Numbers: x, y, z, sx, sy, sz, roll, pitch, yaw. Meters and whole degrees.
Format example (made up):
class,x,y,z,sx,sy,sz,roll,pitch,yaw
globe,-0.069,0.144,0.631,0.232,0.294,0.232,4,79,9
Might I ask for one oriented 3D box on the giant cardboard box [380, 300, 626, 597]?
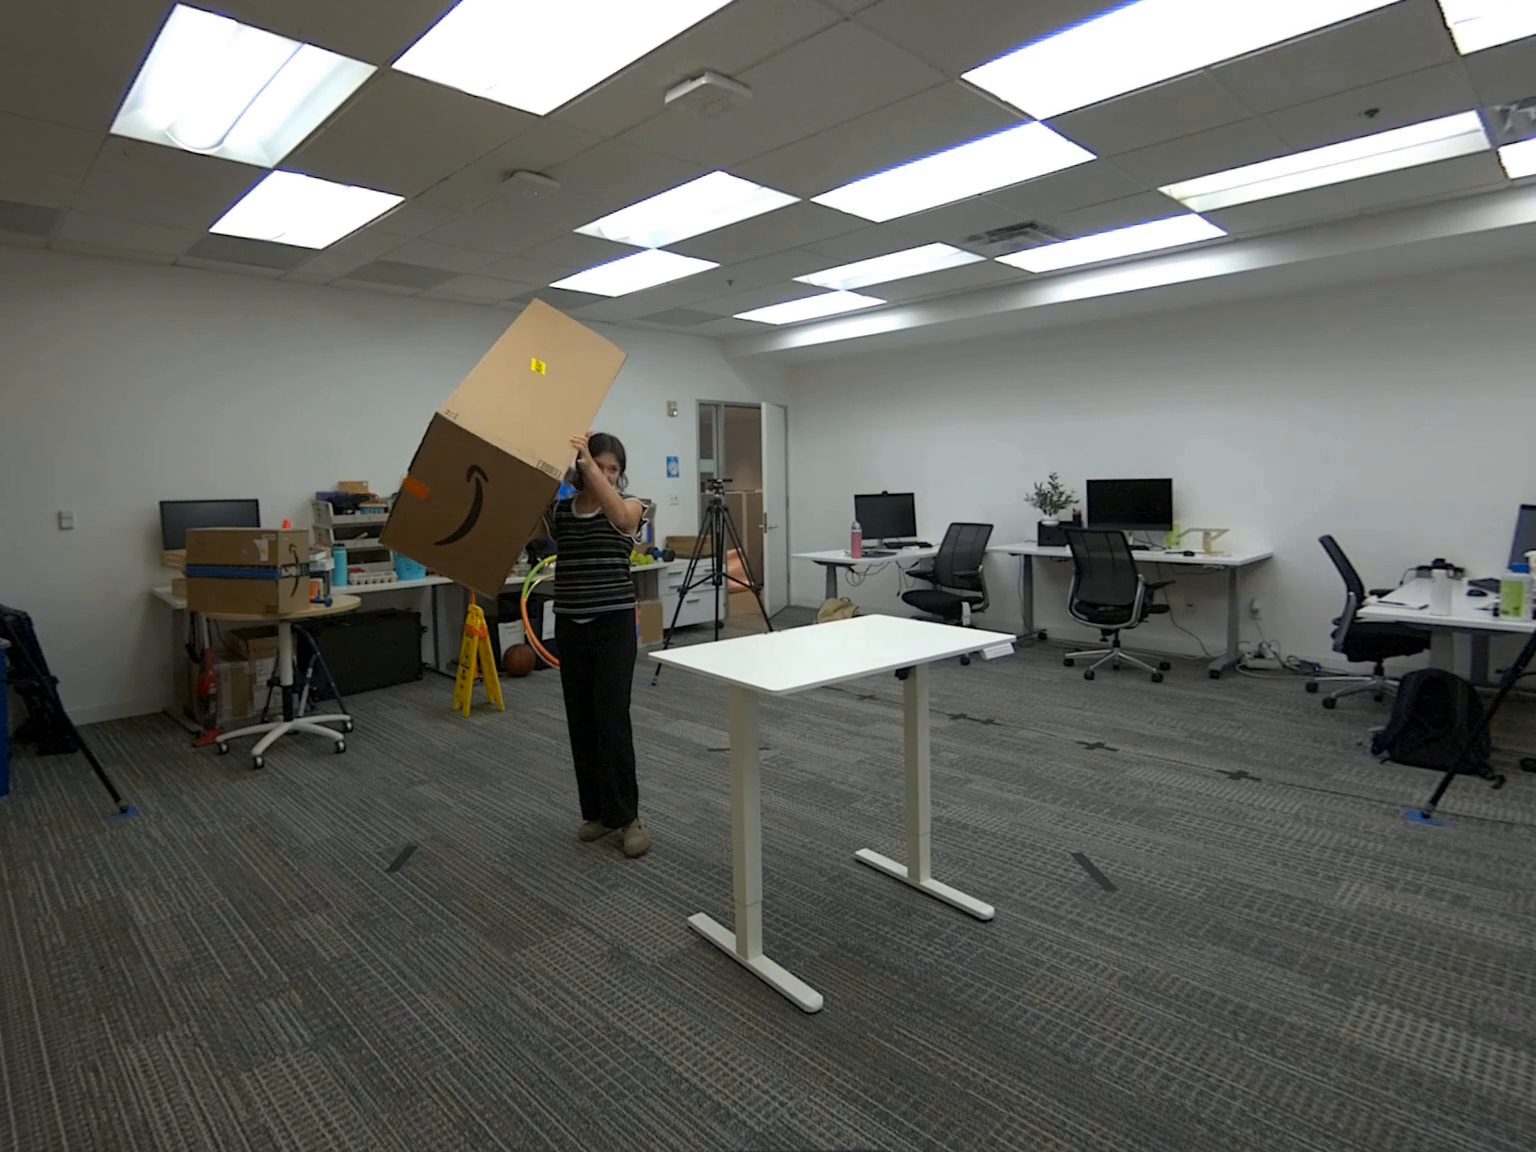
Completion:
class,x,y,z,sx,sy,sz,roll,pitch,yaw
giant cardboard box,-0.927,-0.499,3.132,0.419,0.575,1.047,29,34,-15
